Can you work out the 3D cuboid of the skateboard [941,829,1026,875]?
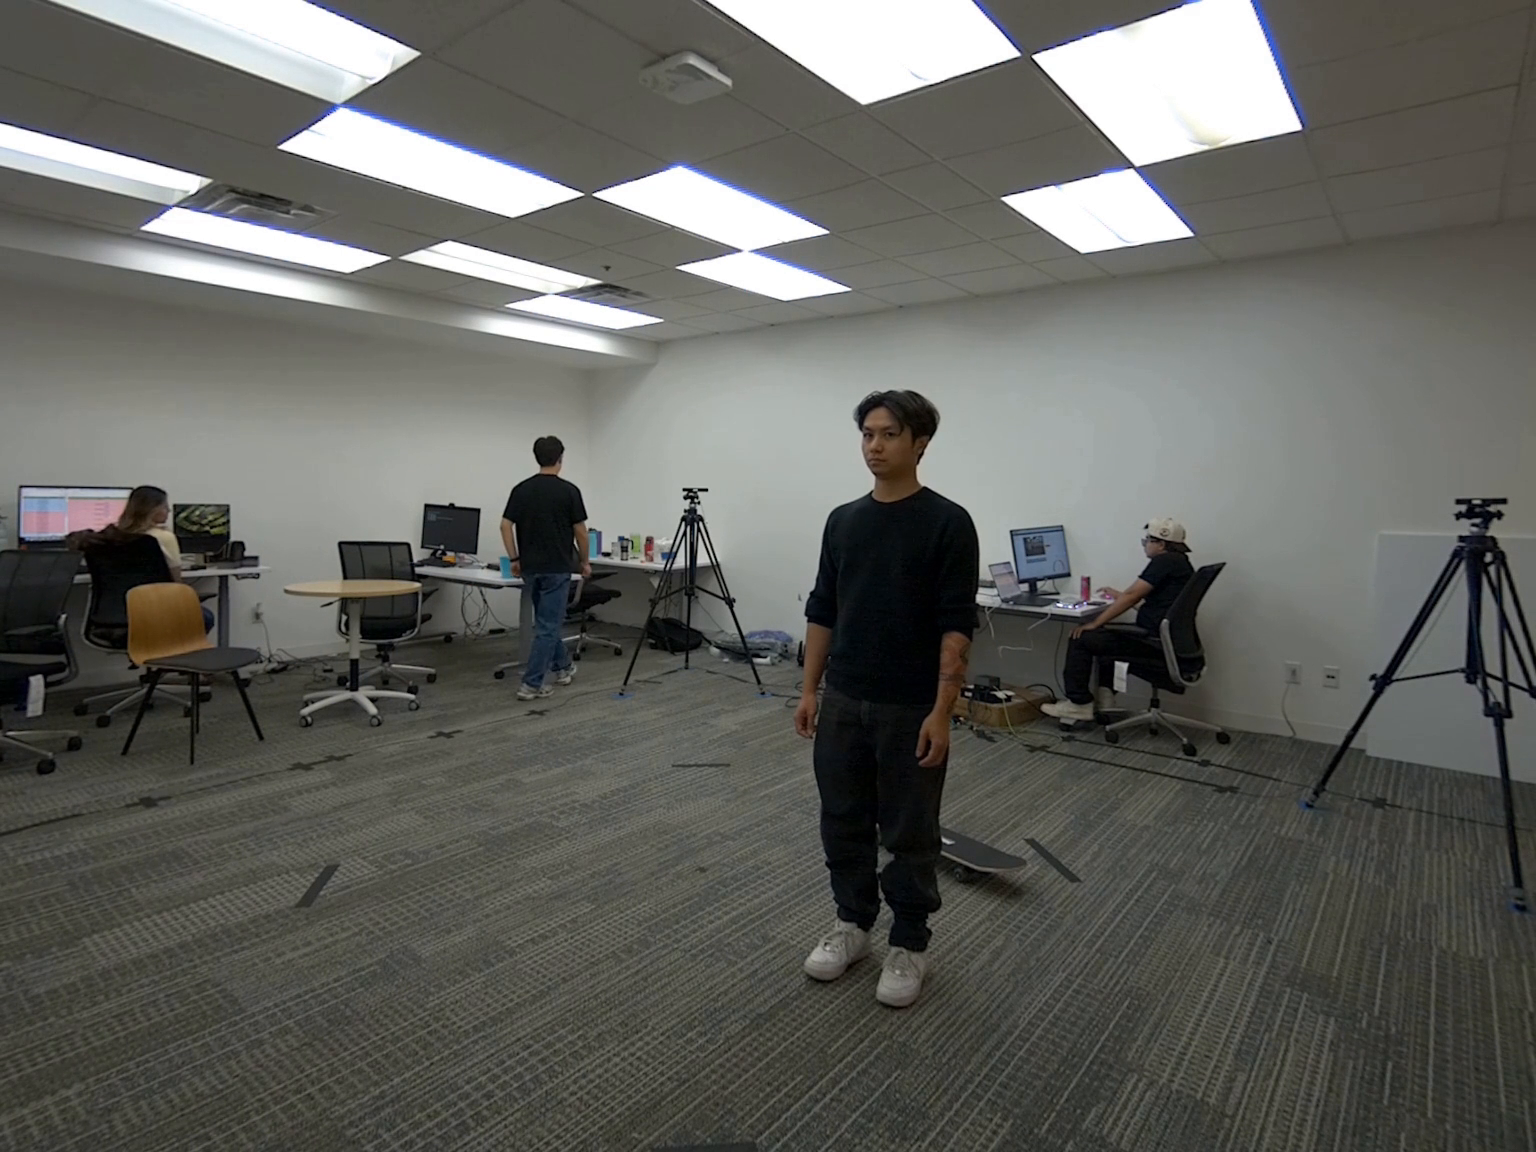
[{"bbox_3d":[0.609,1.011,3.260,0.188,0.110,0.813,-3,7,-41],"label":"skateboard"}]
